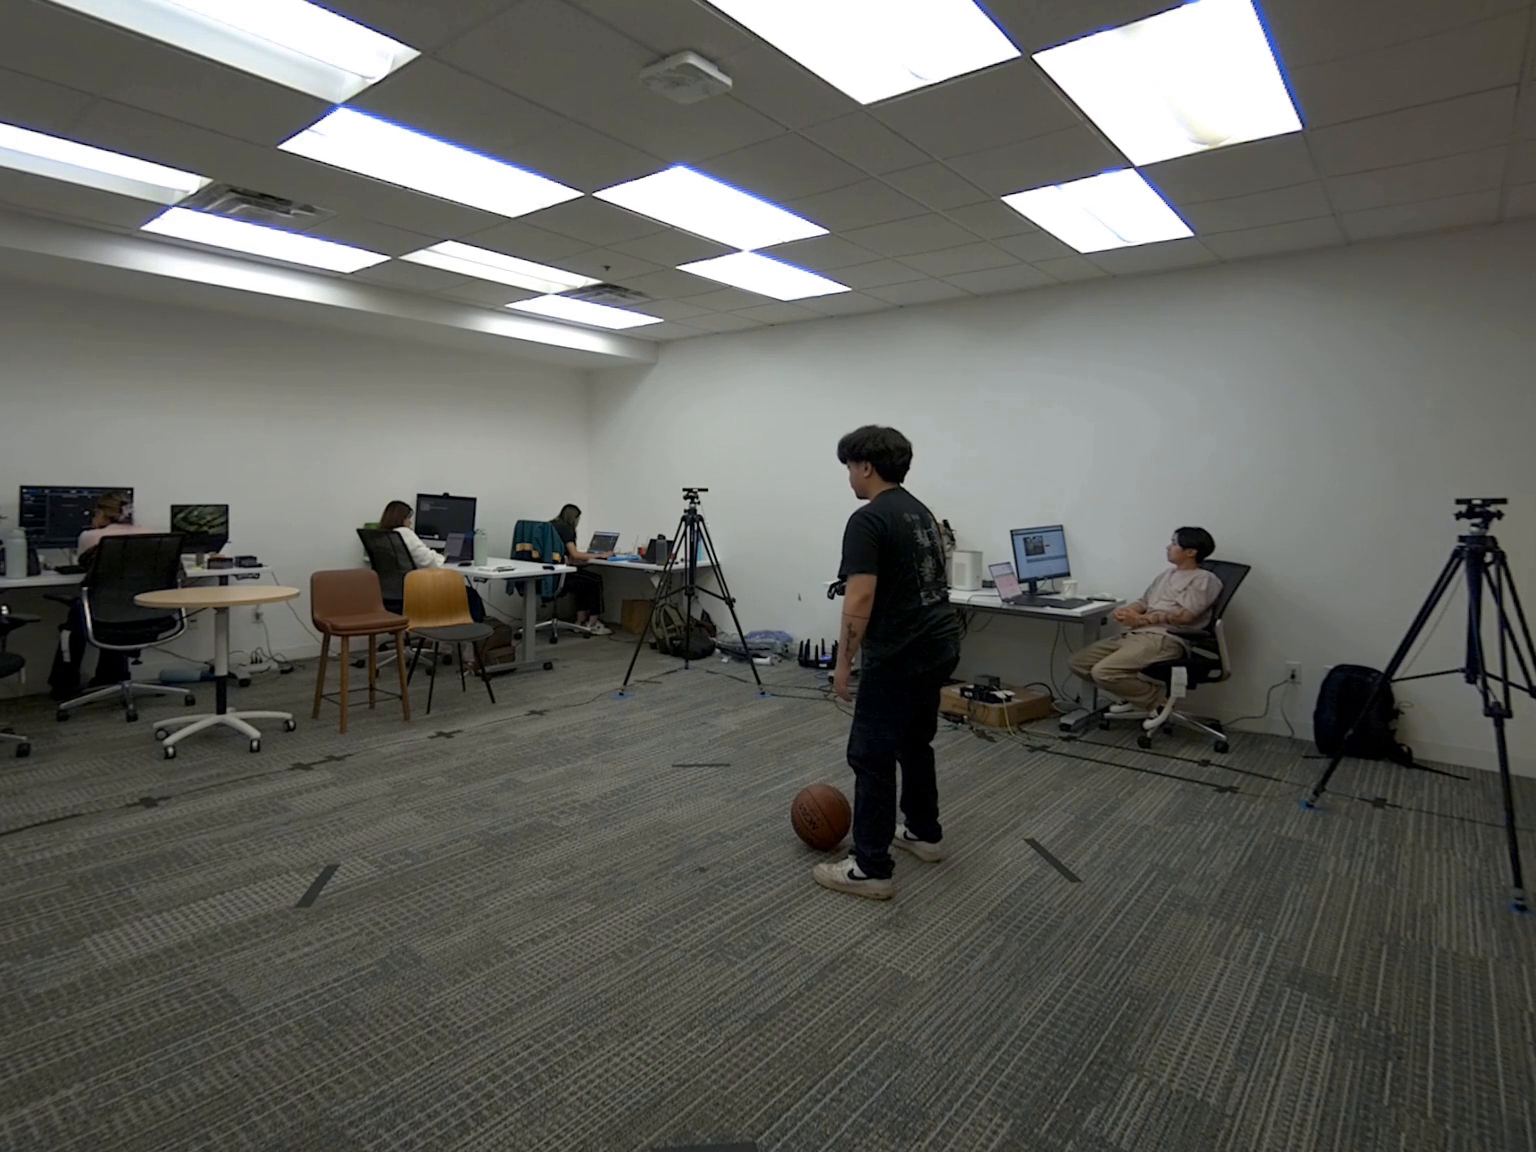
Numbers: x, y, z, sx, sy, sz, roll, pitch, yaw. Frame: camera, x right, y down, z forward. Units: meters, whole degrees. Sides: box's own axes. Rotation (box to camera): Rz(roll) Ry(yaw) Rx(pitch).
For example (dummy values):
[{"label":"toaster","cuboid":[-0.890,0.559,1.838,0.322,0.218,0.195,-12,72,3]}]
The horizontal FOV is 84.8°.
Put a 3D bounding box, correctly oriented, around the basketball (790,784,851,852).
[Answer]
[{"label":"basketball","cuboid":[0.201,0.934,3.337,0.235,0.235,0.237,1,4,-2]}]
